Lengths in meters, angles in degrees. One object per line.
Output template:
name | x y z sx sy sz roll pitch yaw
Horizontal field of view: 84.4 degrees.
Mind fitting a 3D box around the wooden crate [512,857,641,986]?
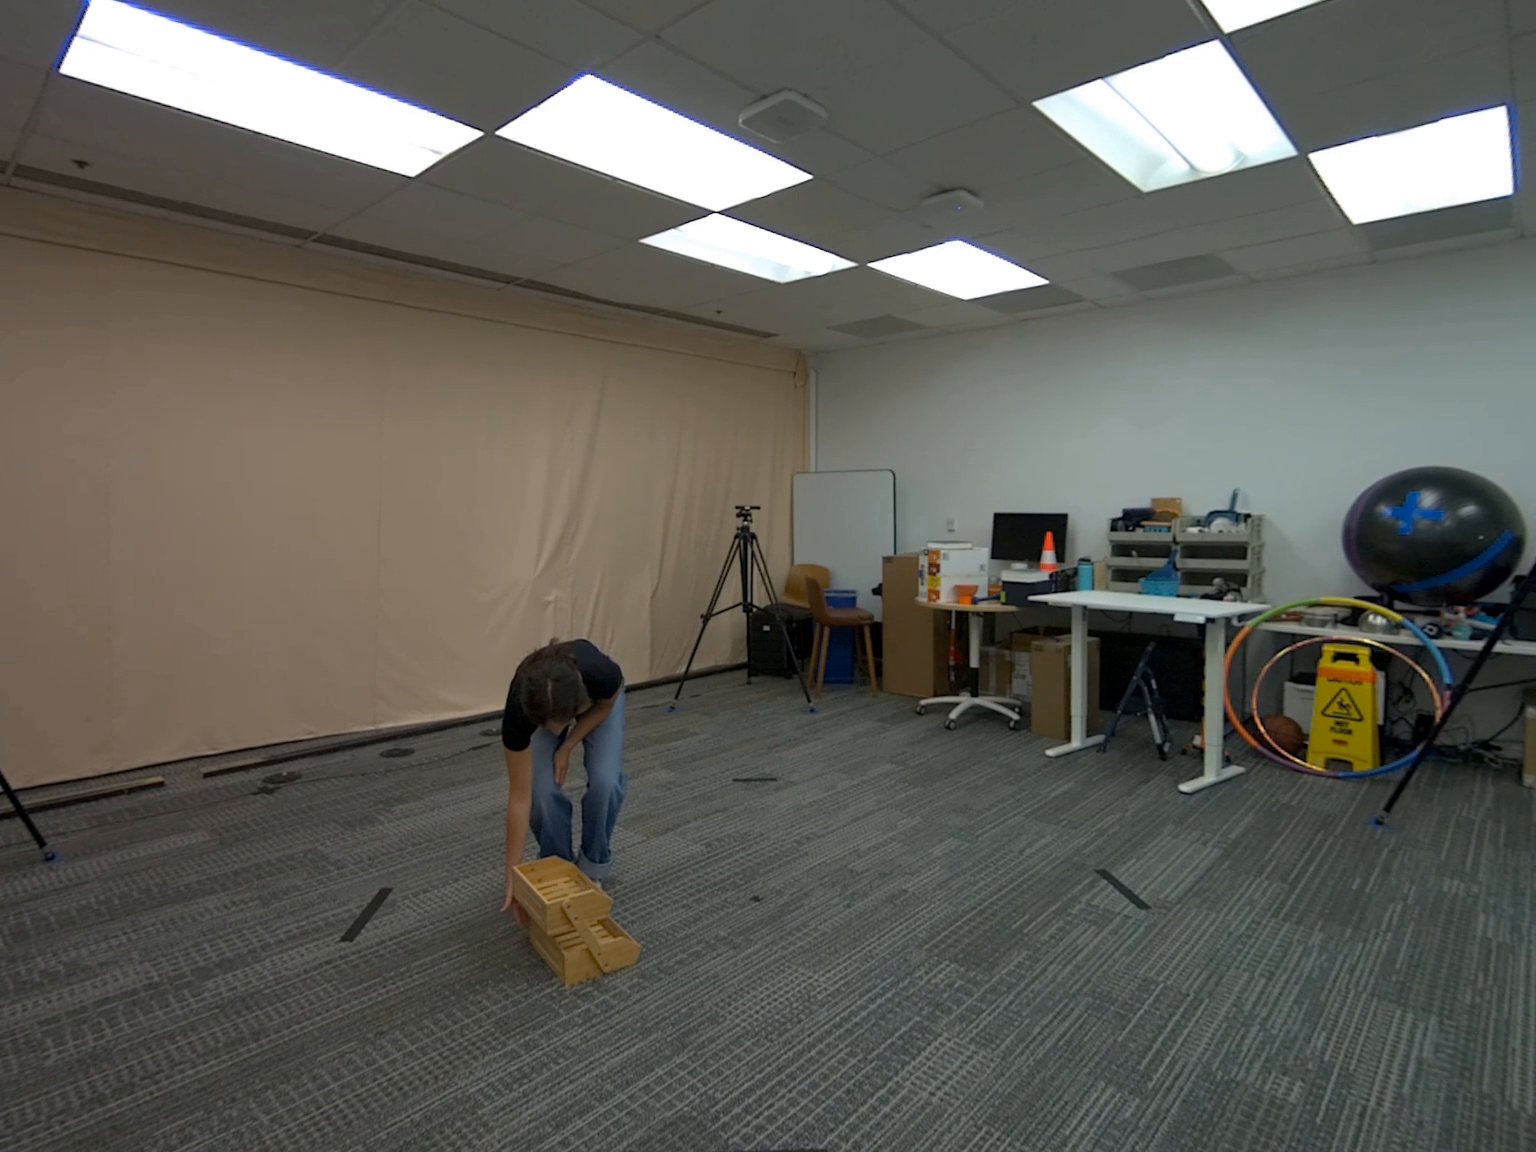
wooden crate | -0.595 1.045 2.613 0.293 0.273 0.334 -4 5 -35
